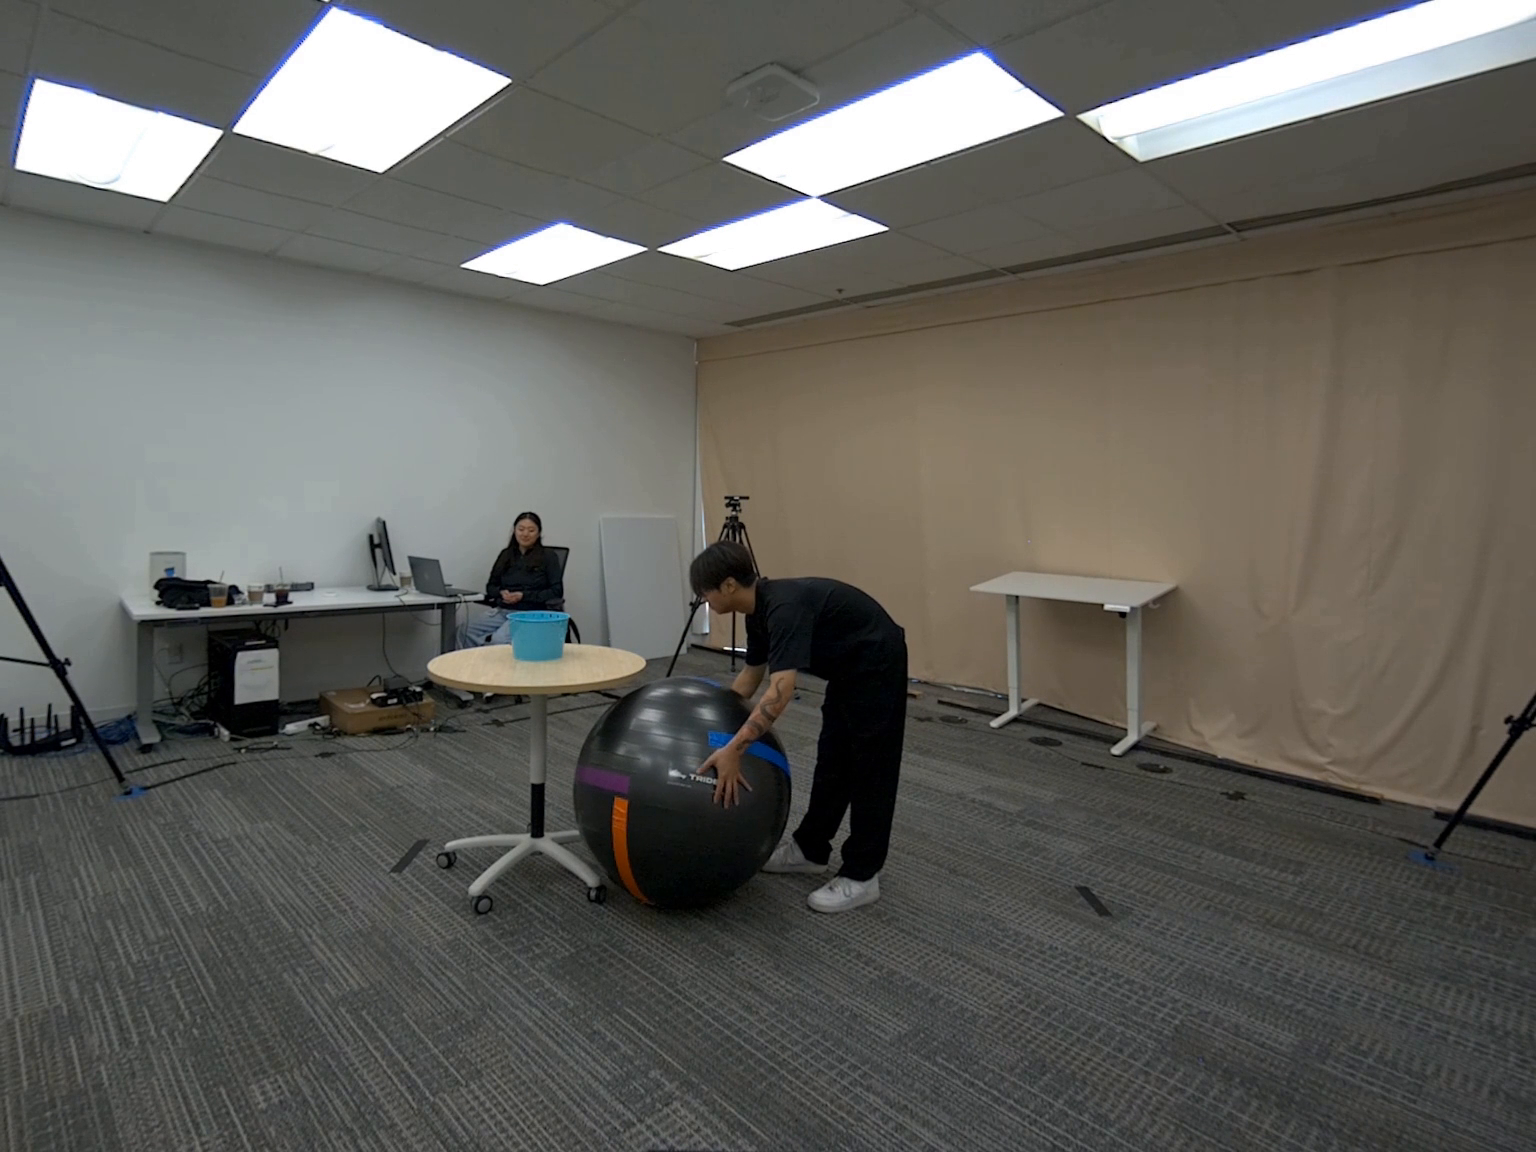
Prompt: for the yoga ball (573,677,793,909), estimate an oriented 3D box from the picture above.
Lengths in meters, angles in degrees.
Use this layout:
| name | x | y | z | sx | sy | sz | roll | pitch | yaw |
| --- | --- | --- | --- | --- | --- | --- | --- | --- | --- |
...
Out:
| name | x | y | z | sx | sy | sz | roll | pitch | yaw |
| --- | --- | --- | --- | --- | --- | --- | --- | --- | --- |
| yoga ball | -0.302 | 0.746 | 2.936 | 0.757 | 0.756 | 0.761 | 1 | 4 | -1 |
